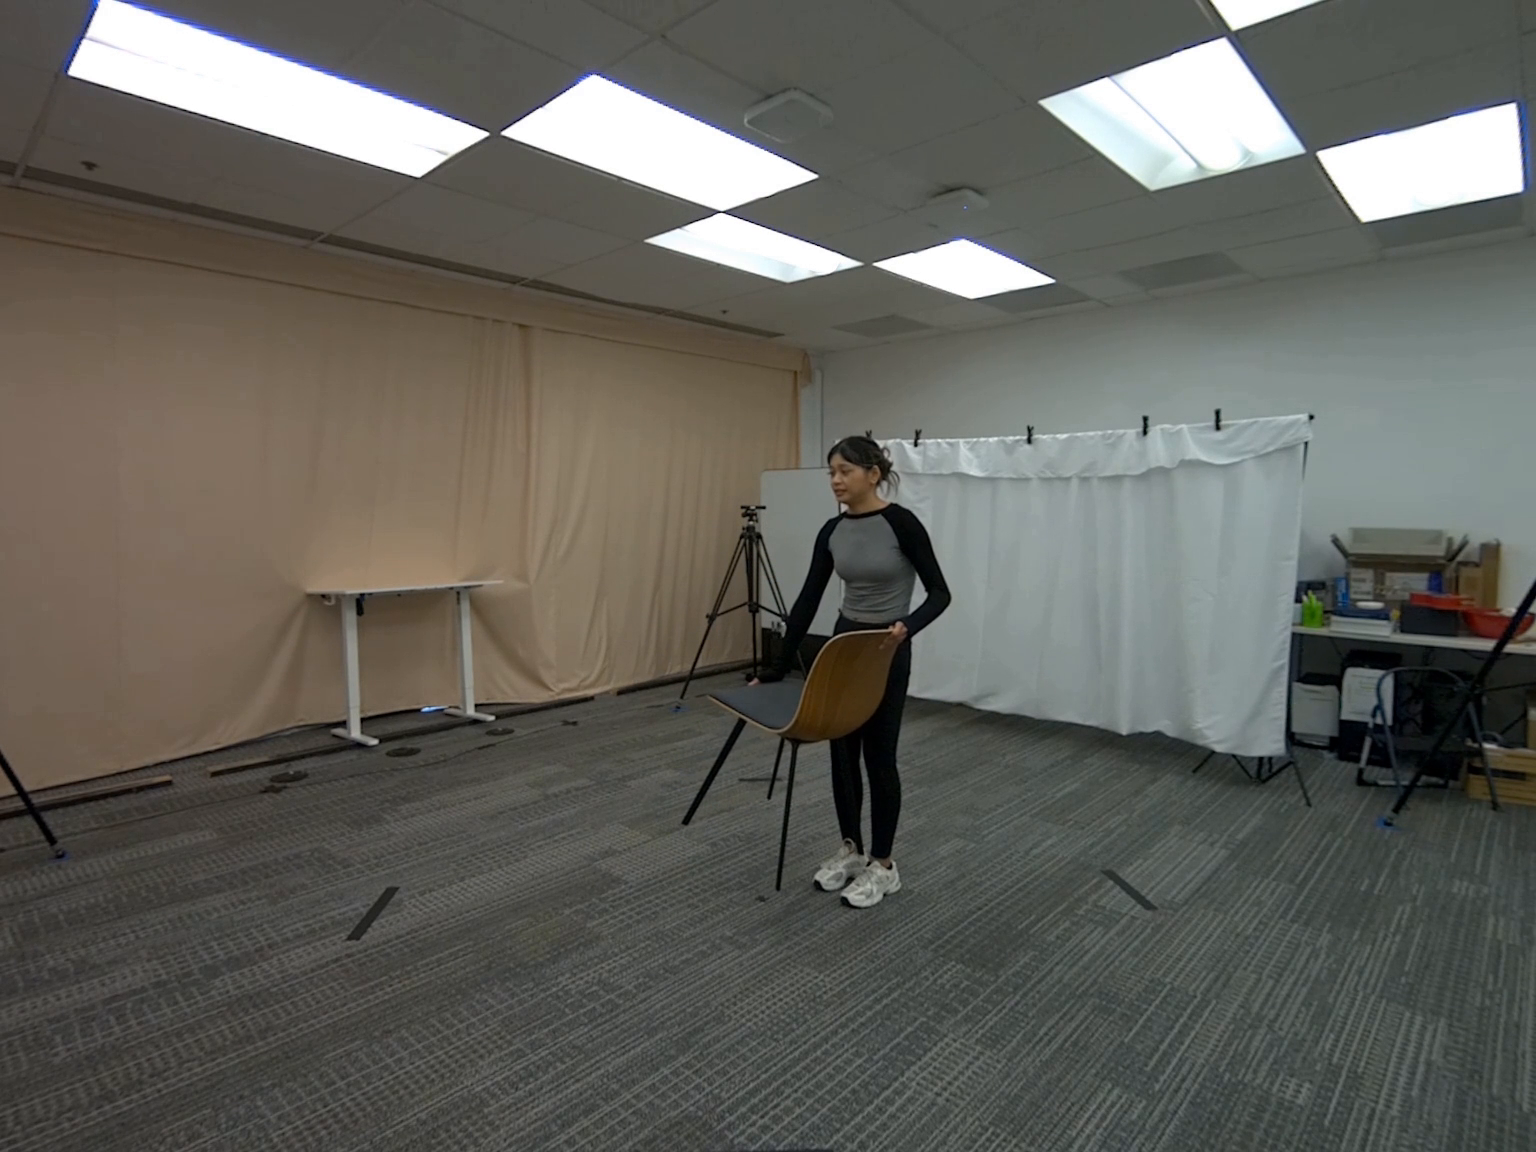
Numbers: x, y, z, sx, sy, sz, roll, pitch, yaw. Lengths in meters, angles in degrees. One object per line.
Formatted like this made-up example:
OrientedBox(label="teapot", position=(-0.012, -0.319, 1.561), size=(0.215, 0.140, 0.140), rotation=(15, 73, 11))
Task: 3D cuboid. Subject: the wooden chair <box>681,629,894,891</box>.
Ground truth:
OrientedBox(label="wooden chair", position=(0.082, 0.501, 2.830), size=(0.542, 0.873, 0.463), rotation=(23, 16, 41))
